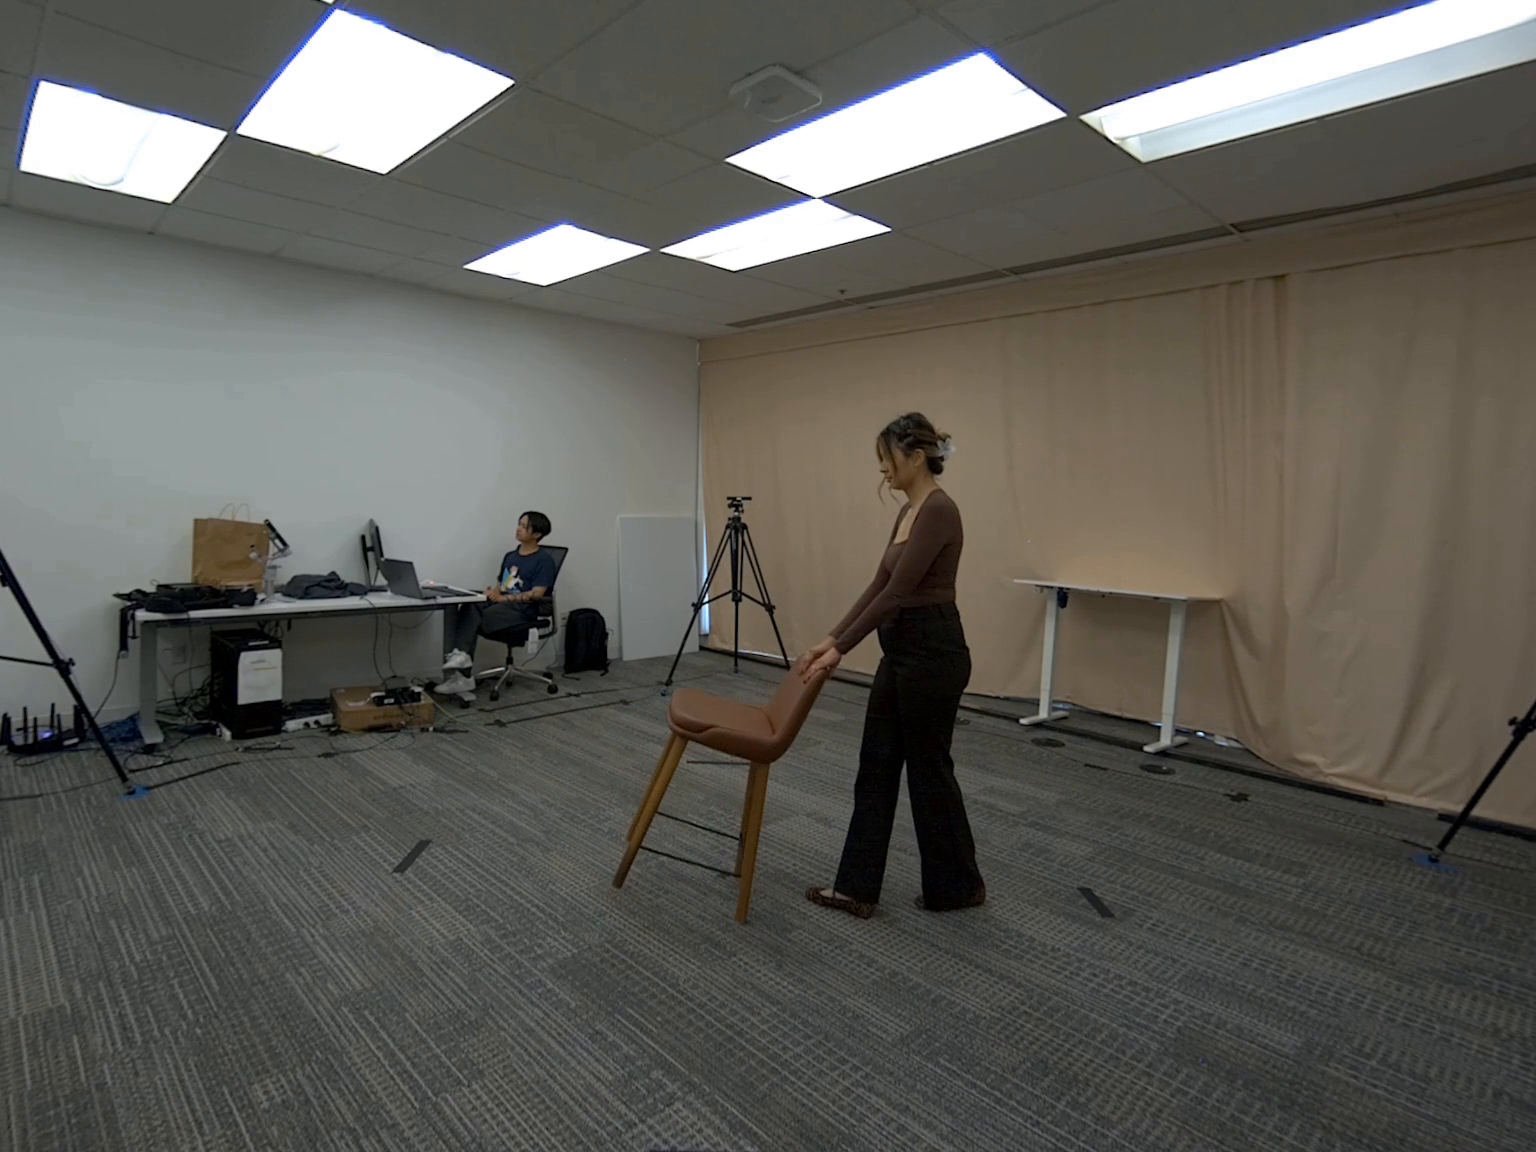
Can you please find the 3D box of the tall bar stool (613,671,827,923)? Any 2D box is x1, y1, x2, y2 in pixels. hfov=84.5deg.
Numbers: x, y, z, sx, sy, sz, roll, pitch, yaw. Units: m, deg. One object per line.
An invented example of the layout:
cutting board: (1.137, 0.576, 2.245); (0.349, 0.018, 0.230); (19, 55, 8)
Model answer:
tall bar stool: (-0.160, 0.642, 2.898); (0.467, 0.889, 0.458); (20, 3, -3)
